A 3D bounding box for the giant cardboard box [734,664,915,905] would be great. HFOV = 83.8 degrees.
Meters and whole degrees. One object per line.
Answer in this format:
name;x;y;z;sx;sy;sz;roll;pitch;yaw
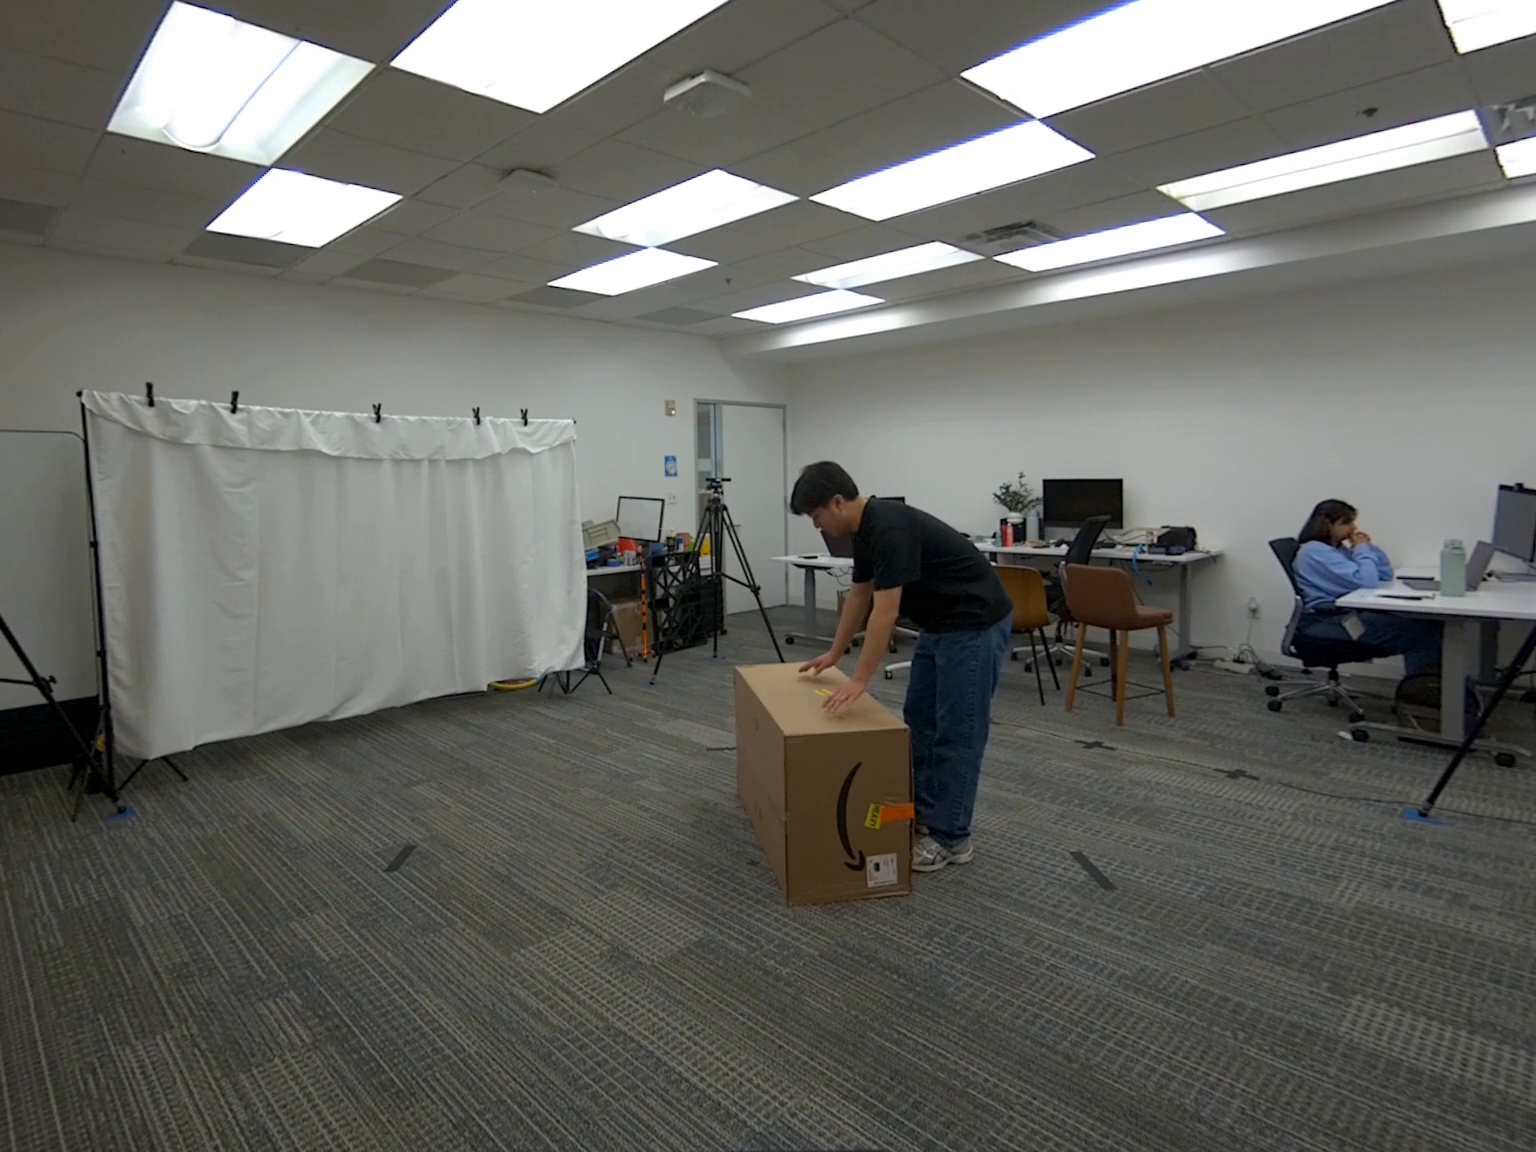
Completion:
giant cardboard box;0.170;0.728;3.296;0.442;0.581;1.042;-1;6;-11
